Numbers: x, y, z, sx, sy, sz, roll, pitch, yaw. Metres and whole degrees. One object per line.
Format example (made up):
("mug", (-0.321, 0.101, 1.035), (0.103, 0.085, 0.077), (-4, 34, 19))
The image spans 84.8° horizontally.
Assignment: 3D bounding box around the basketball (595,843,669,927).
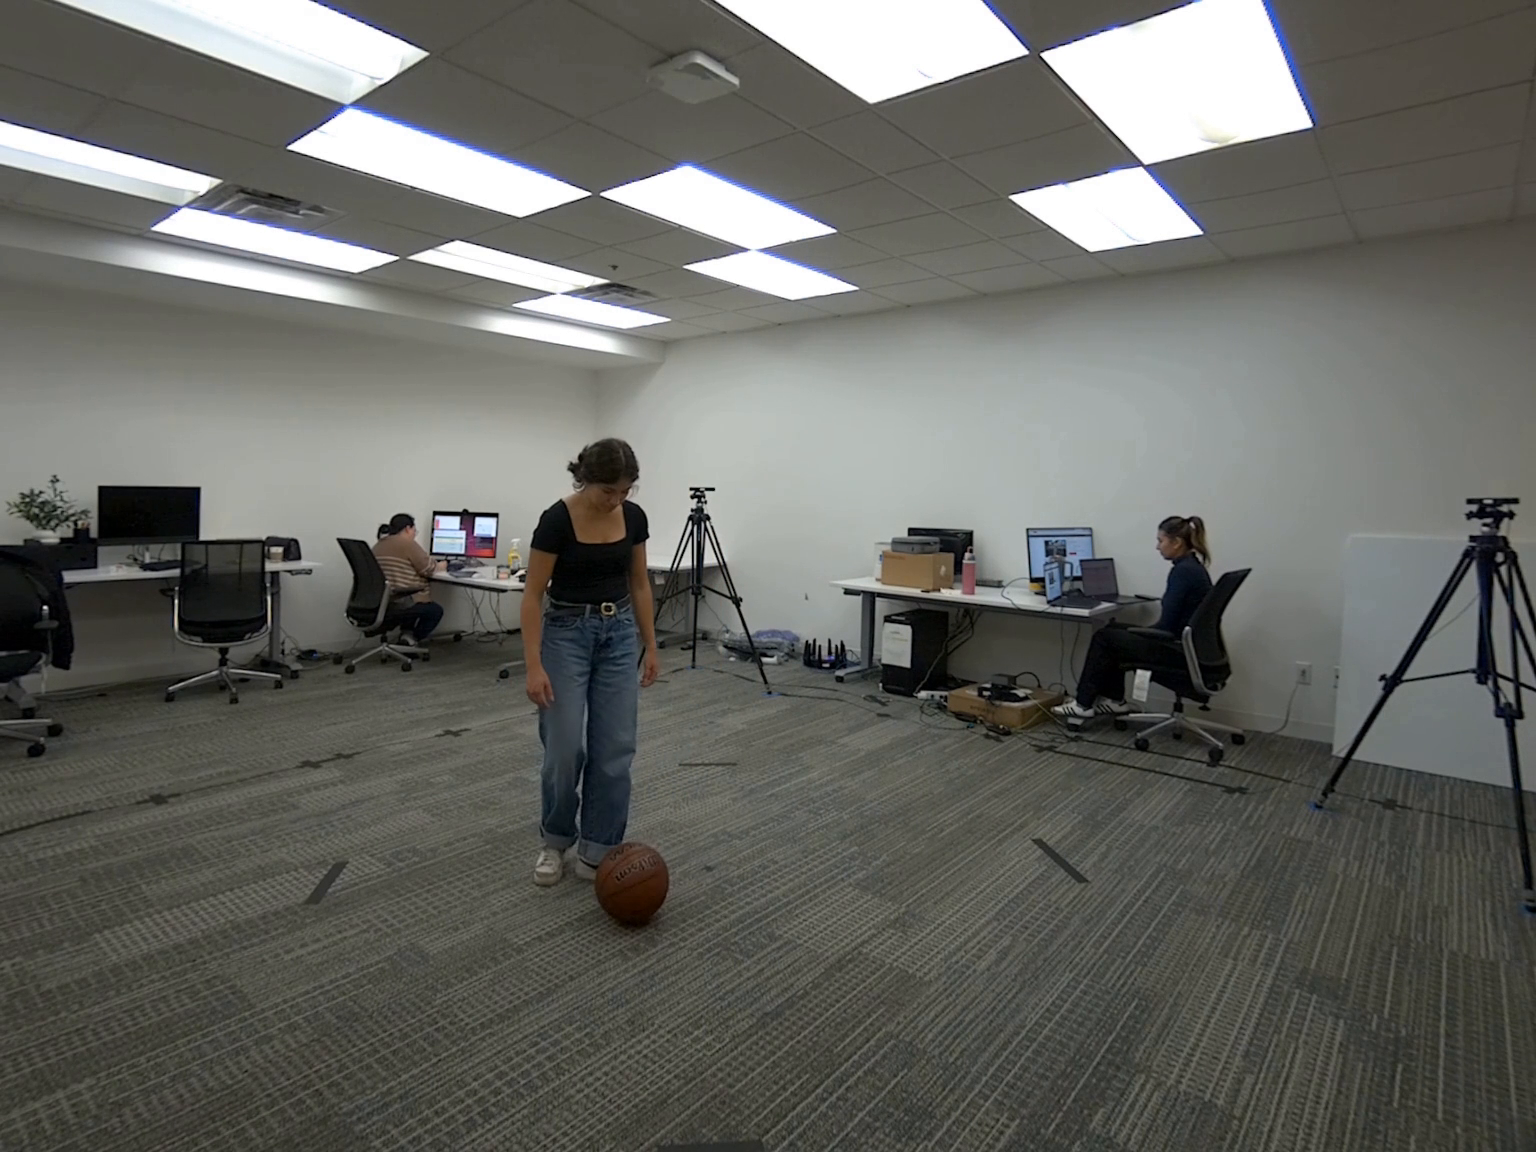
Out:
("basketball", (-0.442, 0.978, 2.730), (0.235, 0.235, 0.237), (1, 4, -2))
